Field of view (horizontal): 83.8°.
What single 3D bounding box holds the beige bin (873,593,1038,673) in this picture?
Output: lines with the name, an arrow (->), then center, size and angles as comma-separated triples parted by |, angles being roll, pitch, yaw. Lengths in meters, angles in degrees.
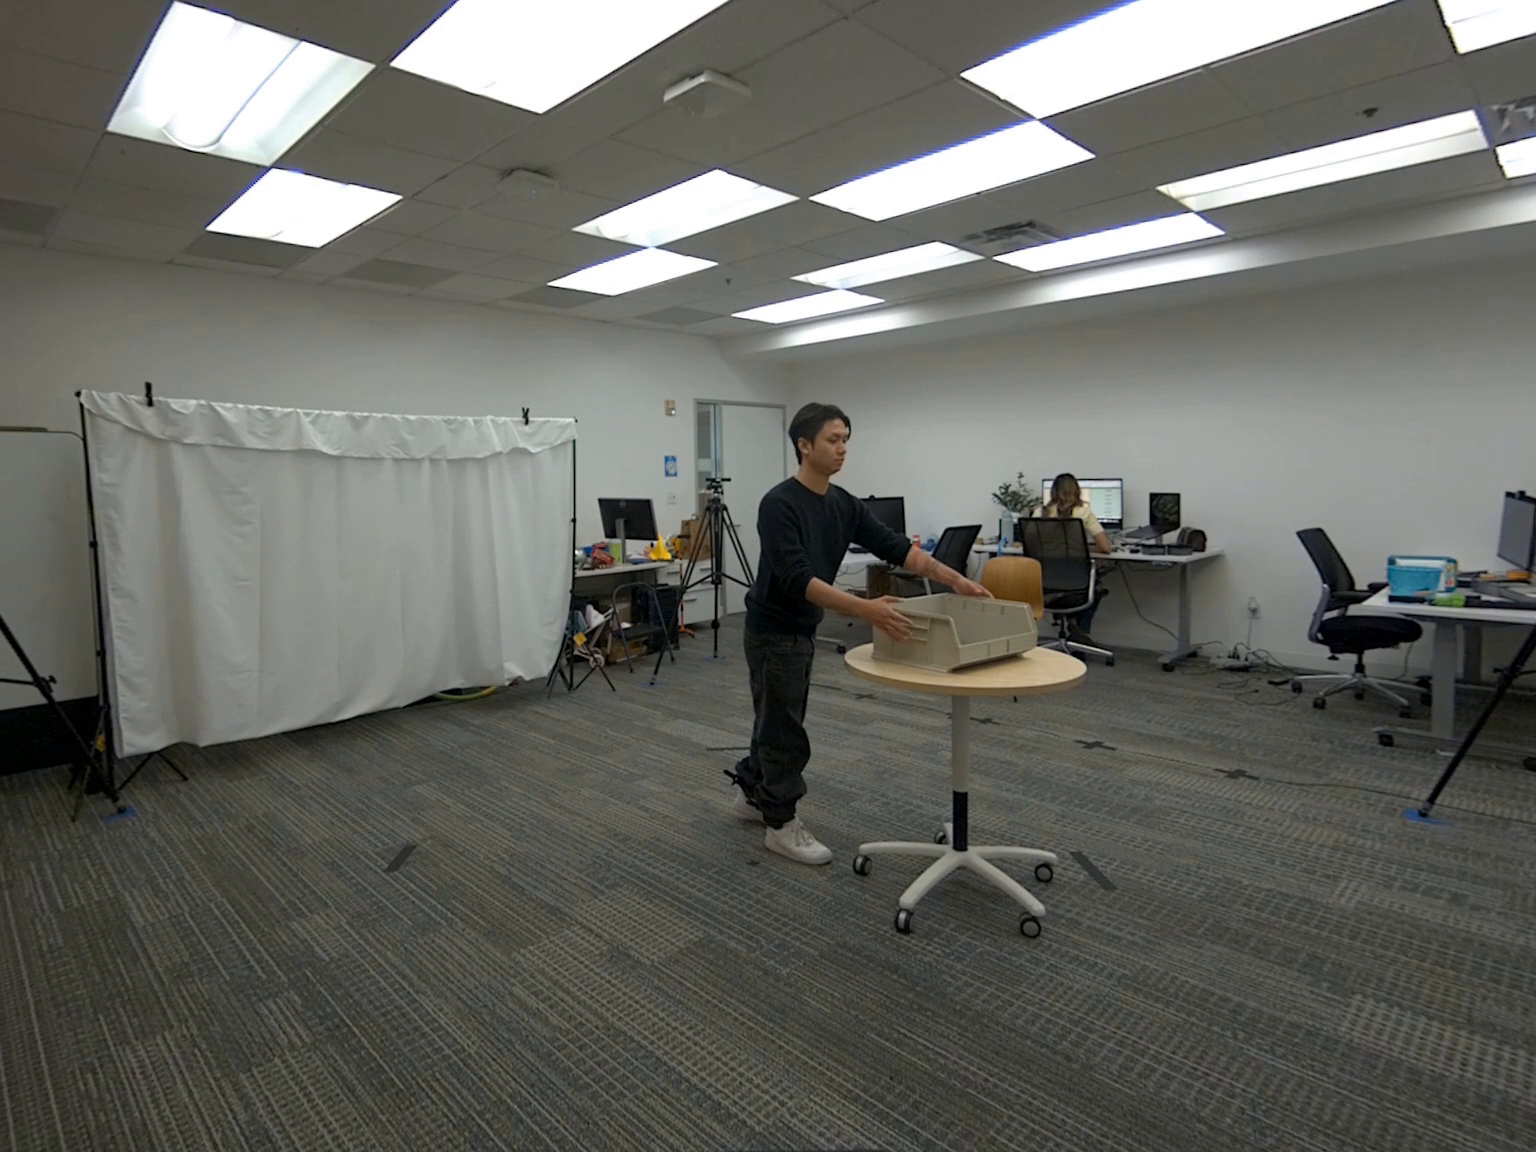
beige bin -> 0.615, 0.185, 2.854 | 0.411, 0.188, 0.388 | -6, 6, -38
